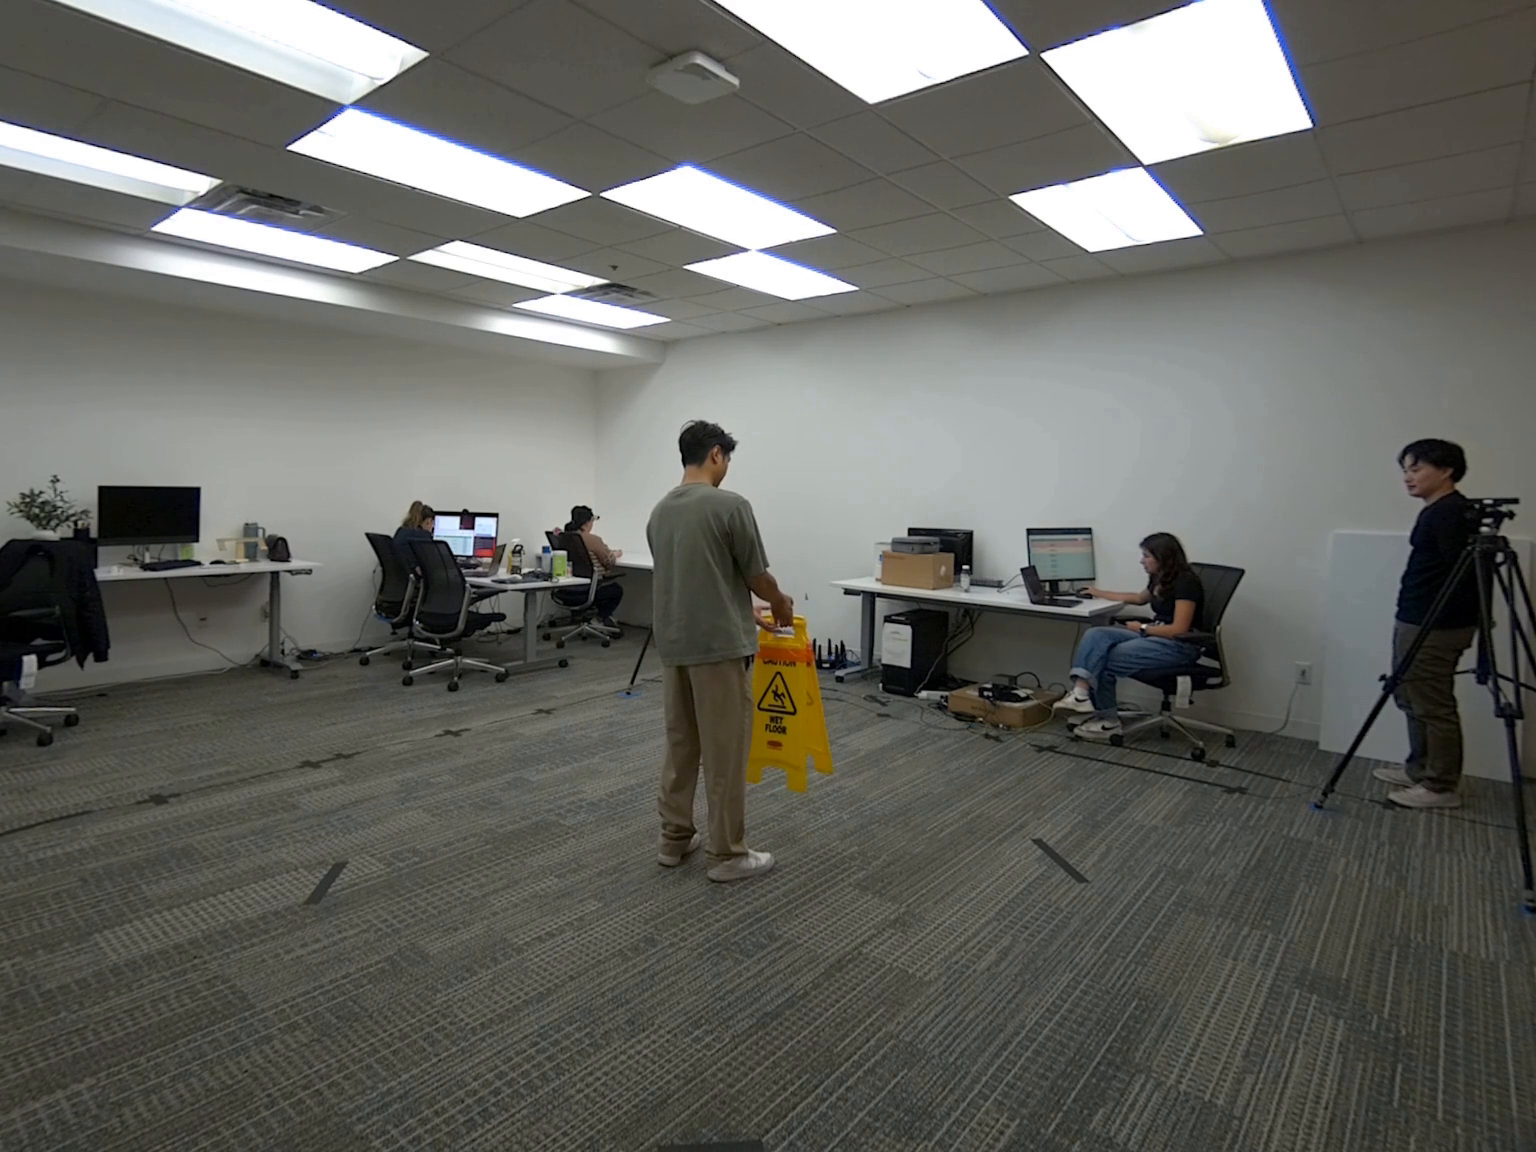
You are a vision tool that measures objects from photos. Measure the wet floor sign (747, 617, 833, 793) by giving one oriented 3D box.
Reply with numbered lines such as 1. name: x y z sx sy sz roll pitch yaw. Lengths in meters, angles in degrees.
1. wet floor sign: 0.060 0.481 3.367 0.291 0.644 0.282 1 3 32
